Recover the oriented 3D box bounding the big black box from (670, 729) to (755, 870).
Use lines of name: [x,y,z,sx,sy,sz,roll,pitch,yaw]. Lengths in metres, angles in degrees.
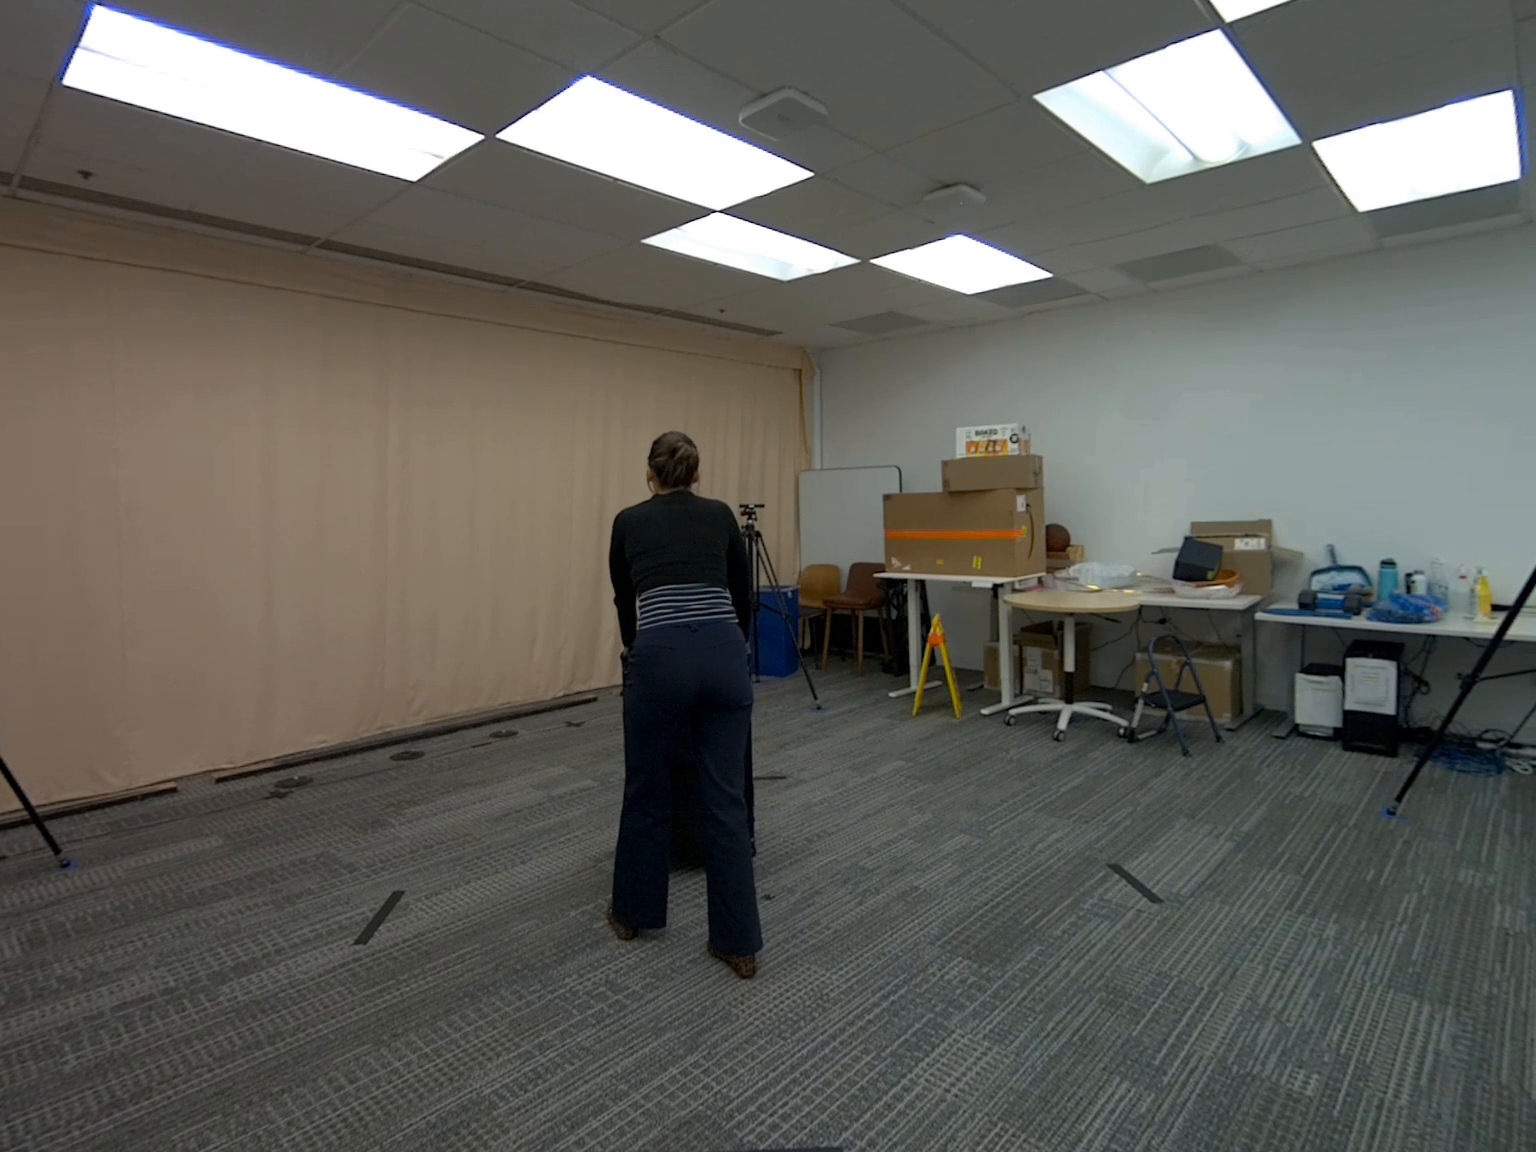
big black box: [-0.299,0.689,3.306,0.522,0.859,0.396,0,4,1]
